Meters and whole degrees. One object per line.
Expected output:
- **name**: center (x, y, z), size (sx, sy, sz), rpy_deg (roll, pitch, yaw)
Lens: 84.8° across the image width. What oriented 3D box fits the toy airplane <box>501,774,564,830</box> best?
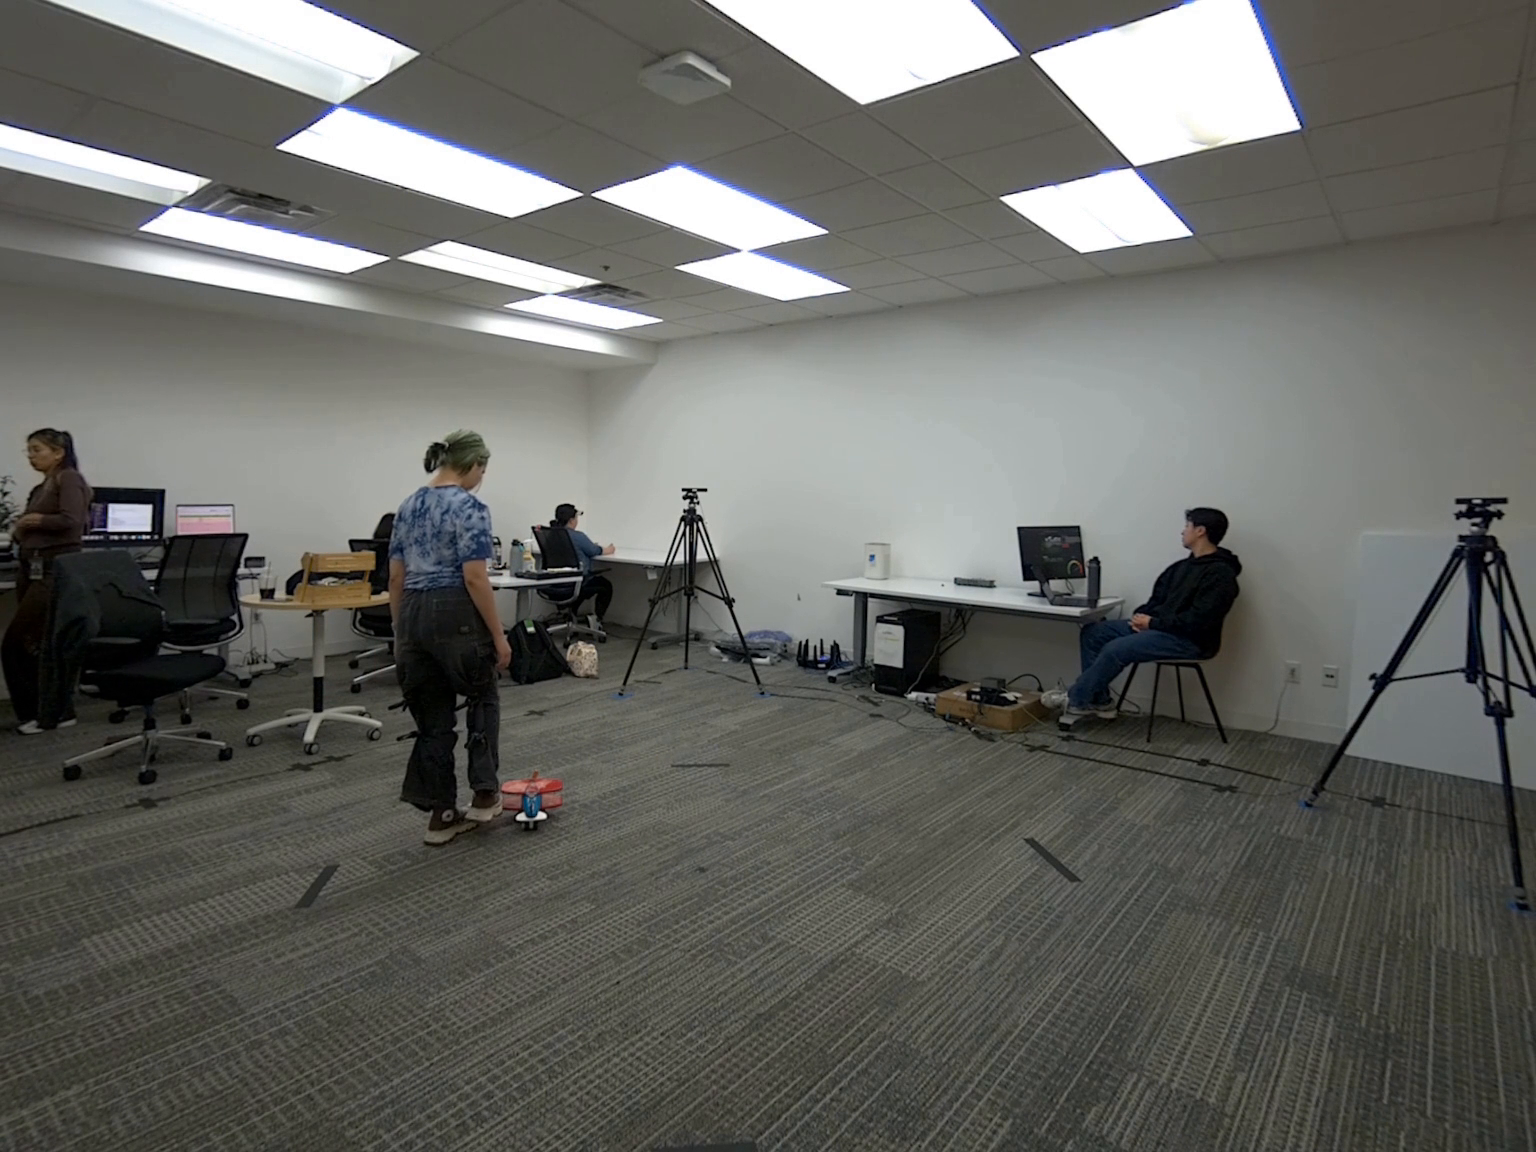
- **toy airplane**: center (-0.979, 0.938, 3.541), size (0.243, 0.156, 0.268), rpy_deg (-3, 5, -42)
